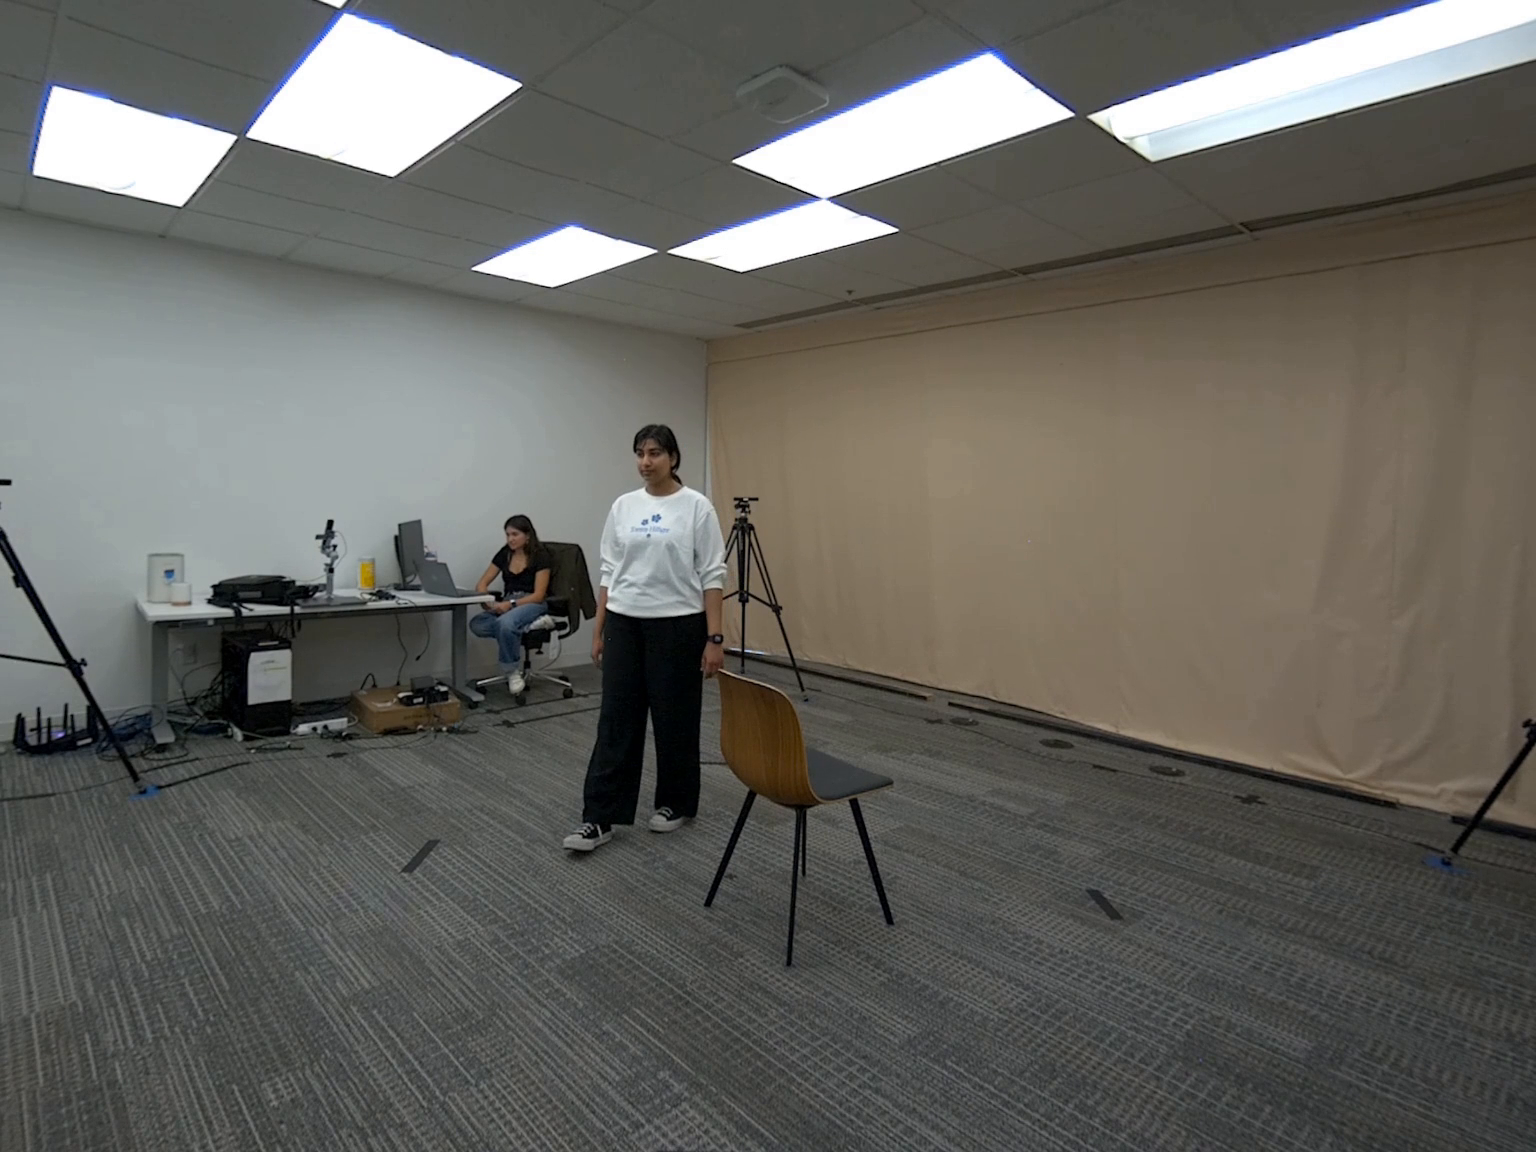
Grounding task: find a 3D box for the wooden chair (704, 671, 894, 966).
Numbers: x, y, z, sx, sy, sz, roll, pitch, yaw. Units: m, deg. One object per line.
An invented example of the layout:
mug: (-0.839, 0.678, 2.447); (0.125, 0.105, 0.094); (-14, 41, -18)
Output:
wooden chair: (0.110, 0.713, 2.797); (0.512, 0.873, 0.490); (-7, 8, -37)
